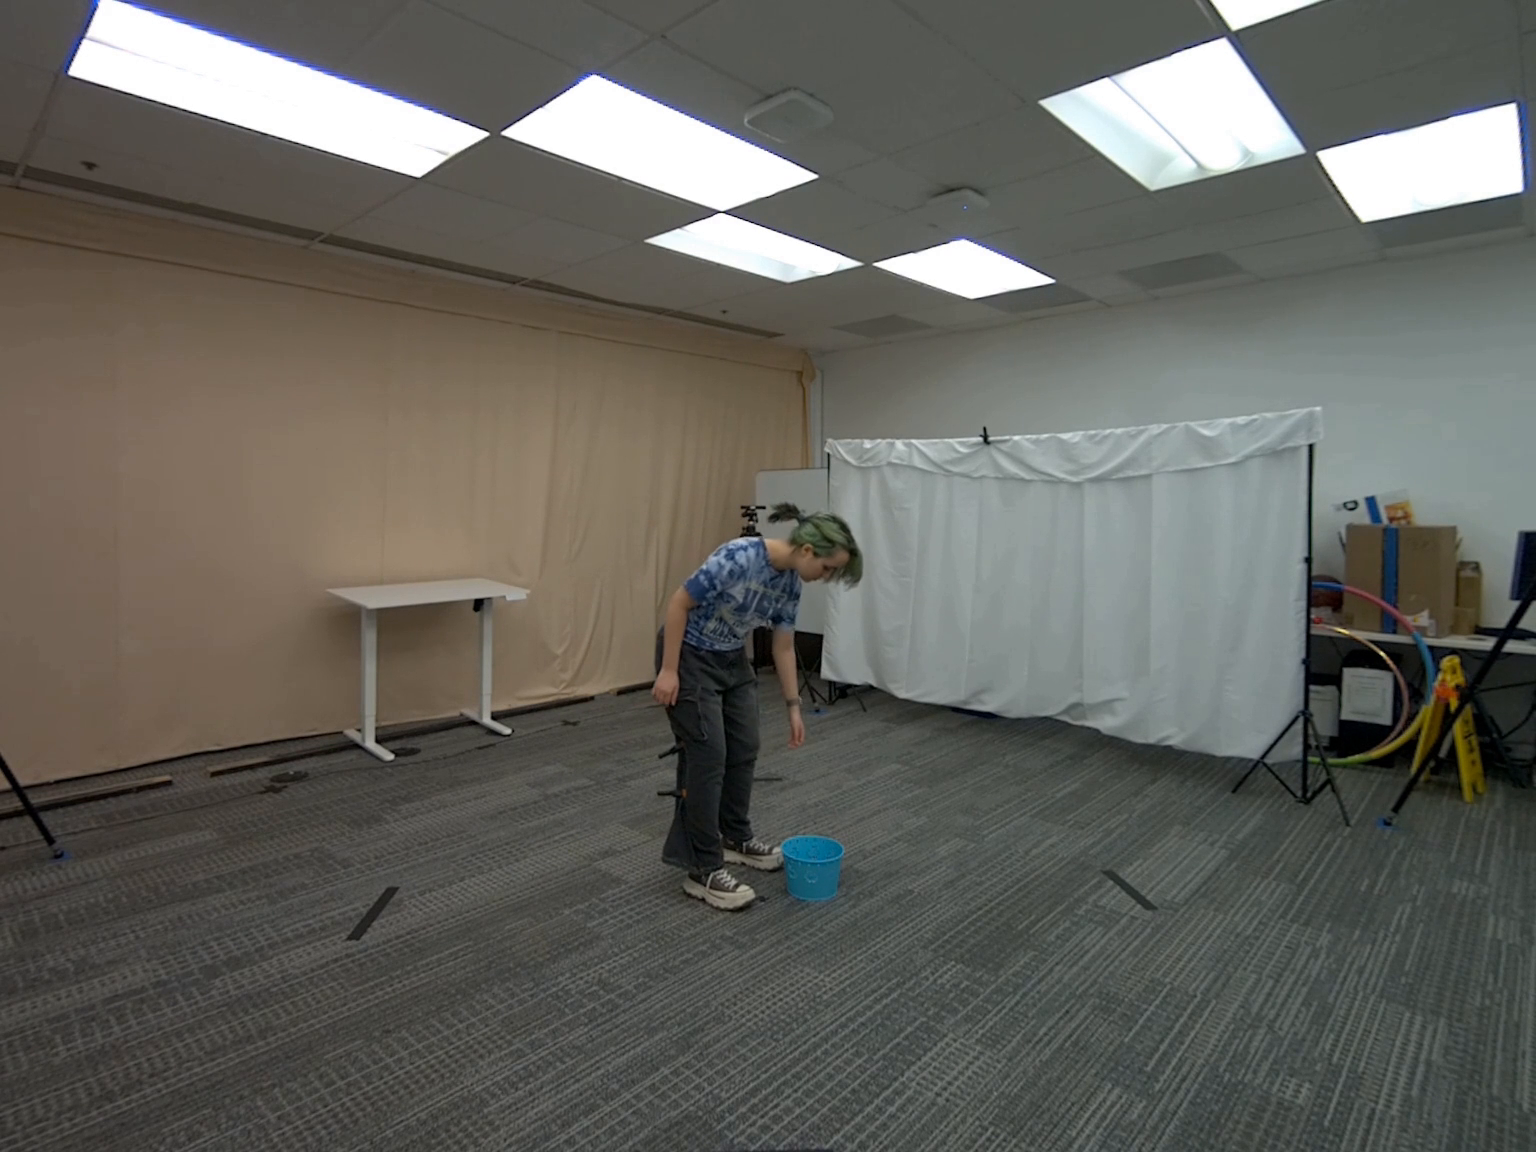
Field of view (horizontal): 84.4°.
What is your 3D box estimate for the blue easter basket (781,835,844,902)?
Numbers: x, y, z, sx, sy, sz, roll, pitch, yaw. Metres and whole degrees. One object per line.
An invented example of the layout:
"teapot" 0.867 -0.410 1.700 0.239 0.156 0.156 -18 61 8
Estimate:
"blue easter basket" 0.161 1.055 3.057 0.243 0.155 0.244 0 4 -2
